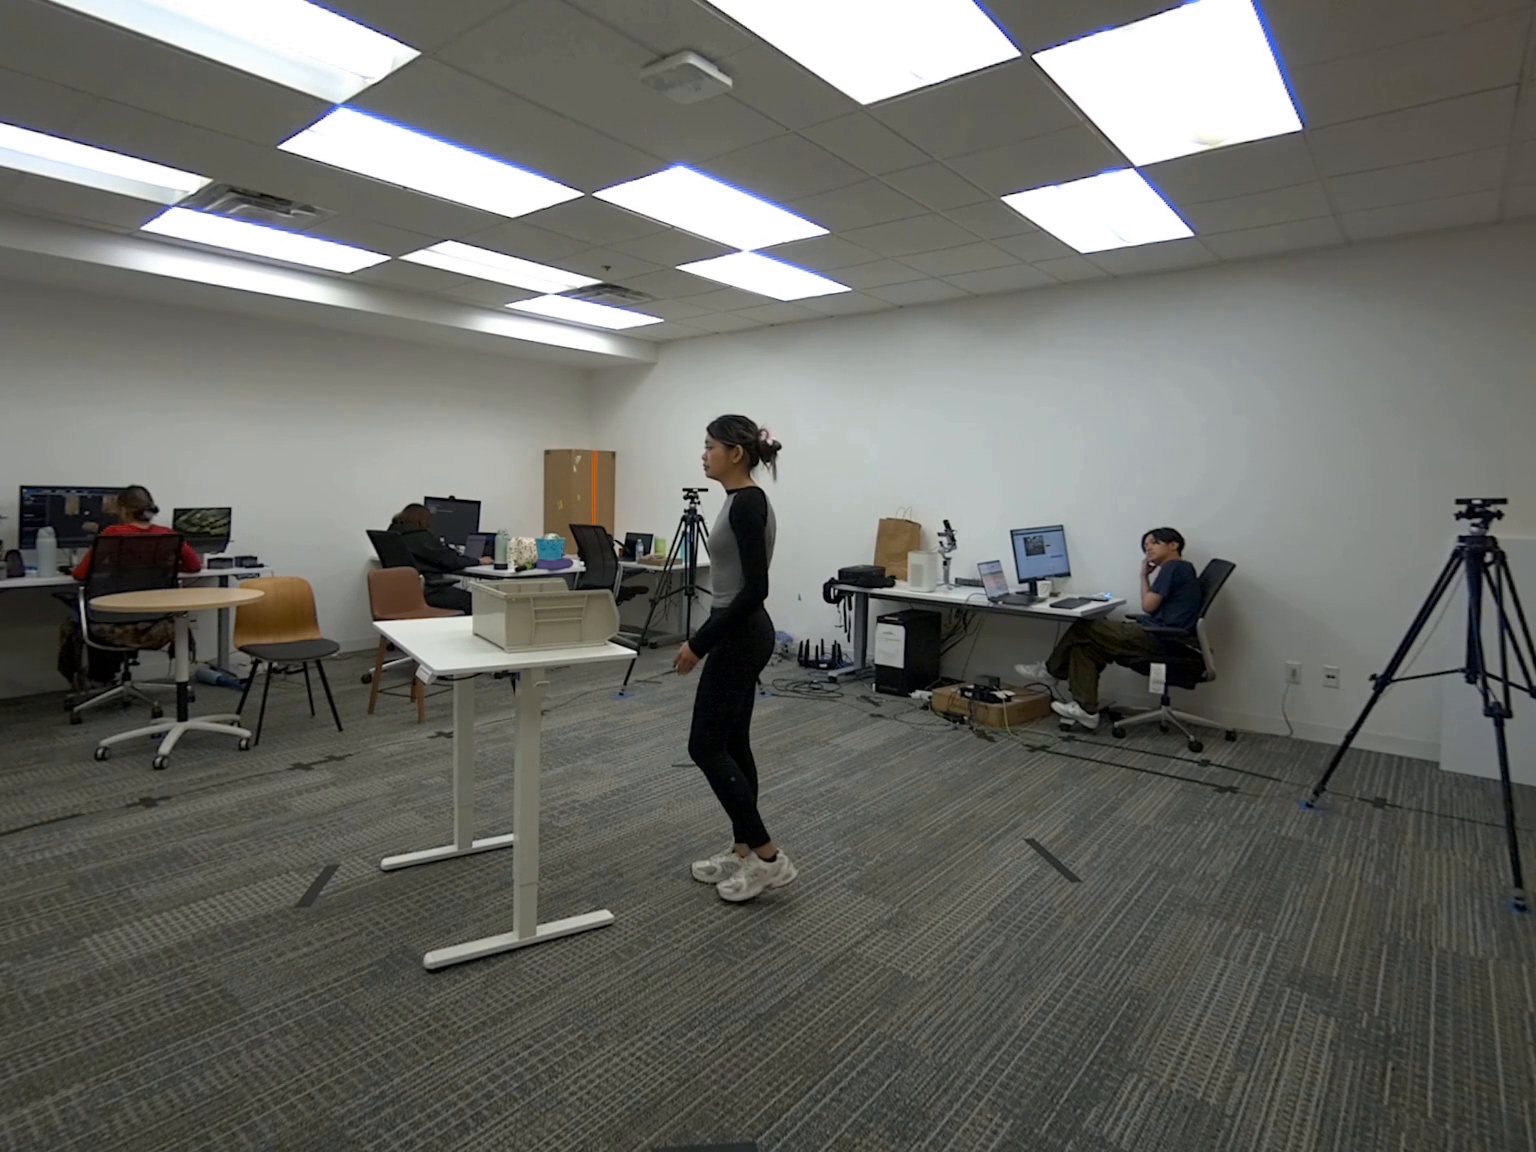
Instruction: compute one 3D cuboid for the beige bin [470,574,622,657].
[{"bbox_3d":[-0.749,0.117,2.804,0.367,0.188,0.435,-4,7,-32],"label":"beige bin"}]
